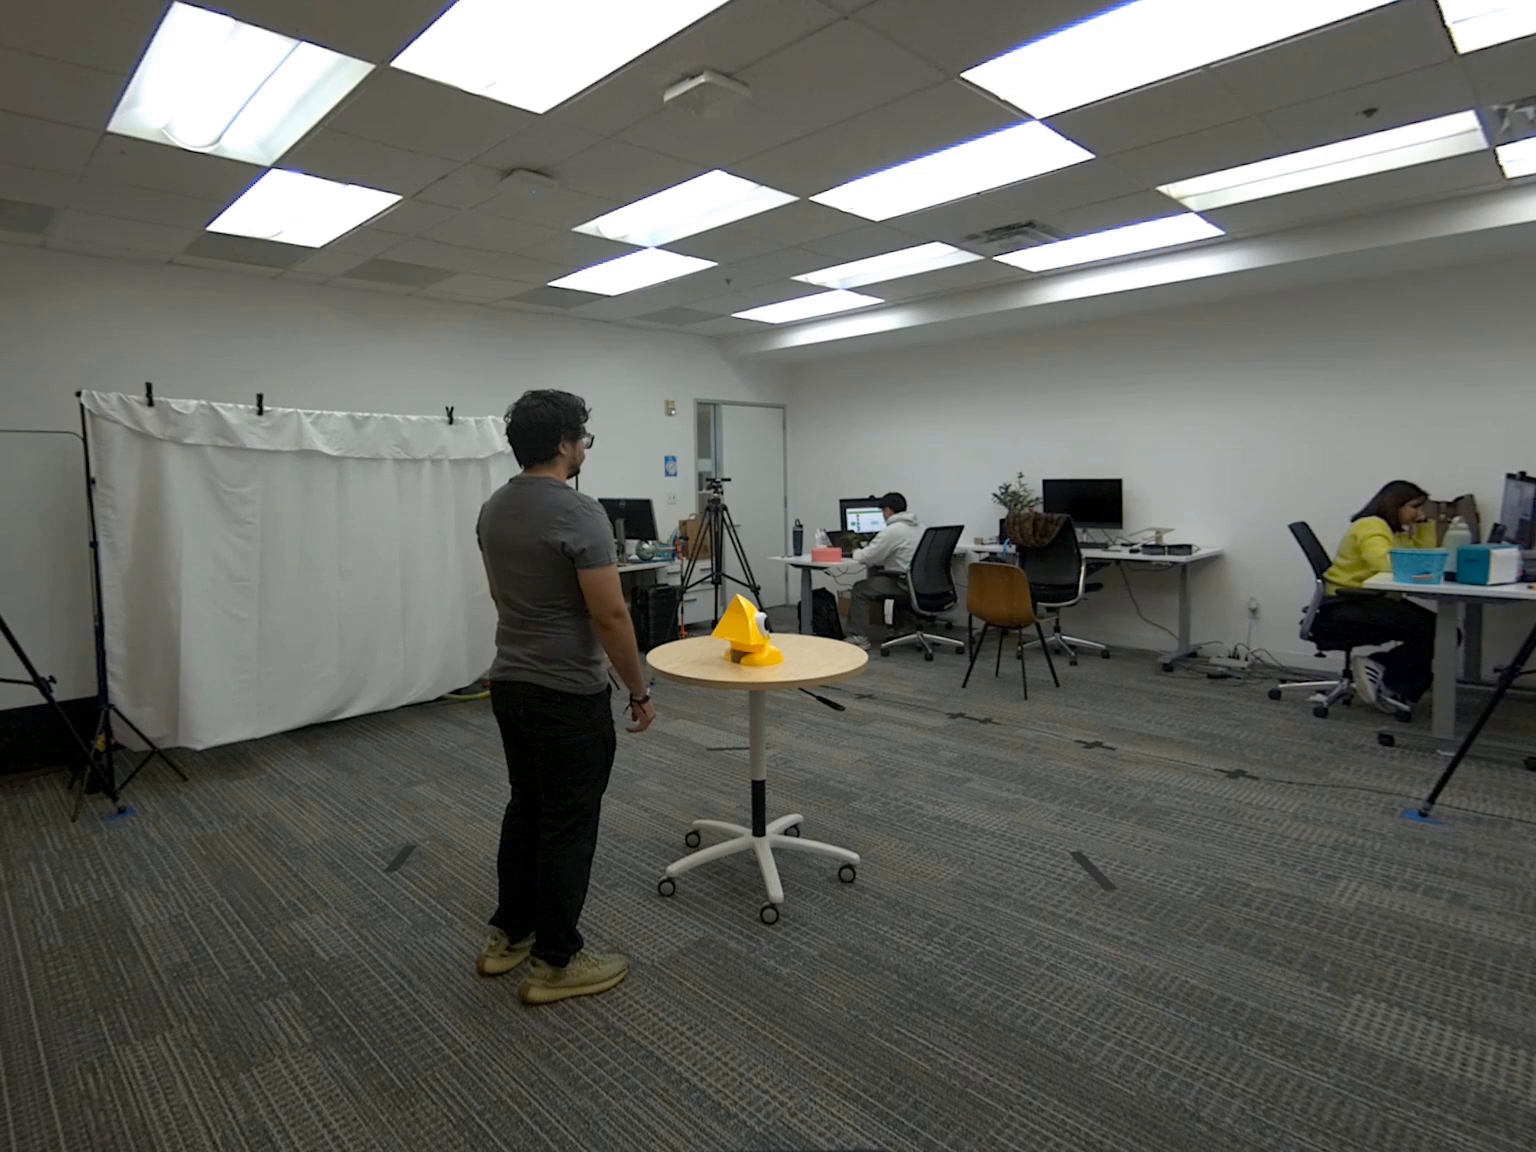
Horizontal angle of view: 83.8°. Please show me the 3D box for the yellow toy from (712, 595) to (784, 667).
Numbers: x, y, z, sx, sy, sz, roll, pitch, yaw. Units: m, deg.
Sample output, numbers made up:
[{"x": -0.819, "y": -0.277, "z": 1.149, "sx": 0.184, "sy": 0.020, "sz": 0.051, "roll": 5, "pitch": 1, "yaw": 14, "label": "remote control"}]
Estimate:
[{"x": -0.058, "y": 0.169, "z": 2.884, "sx": 0.188, "sy": 0.230, "sz": 0.211, "roll": -5, "pitch": 7, "yaw": -40, "label": "yellow toy"}]
